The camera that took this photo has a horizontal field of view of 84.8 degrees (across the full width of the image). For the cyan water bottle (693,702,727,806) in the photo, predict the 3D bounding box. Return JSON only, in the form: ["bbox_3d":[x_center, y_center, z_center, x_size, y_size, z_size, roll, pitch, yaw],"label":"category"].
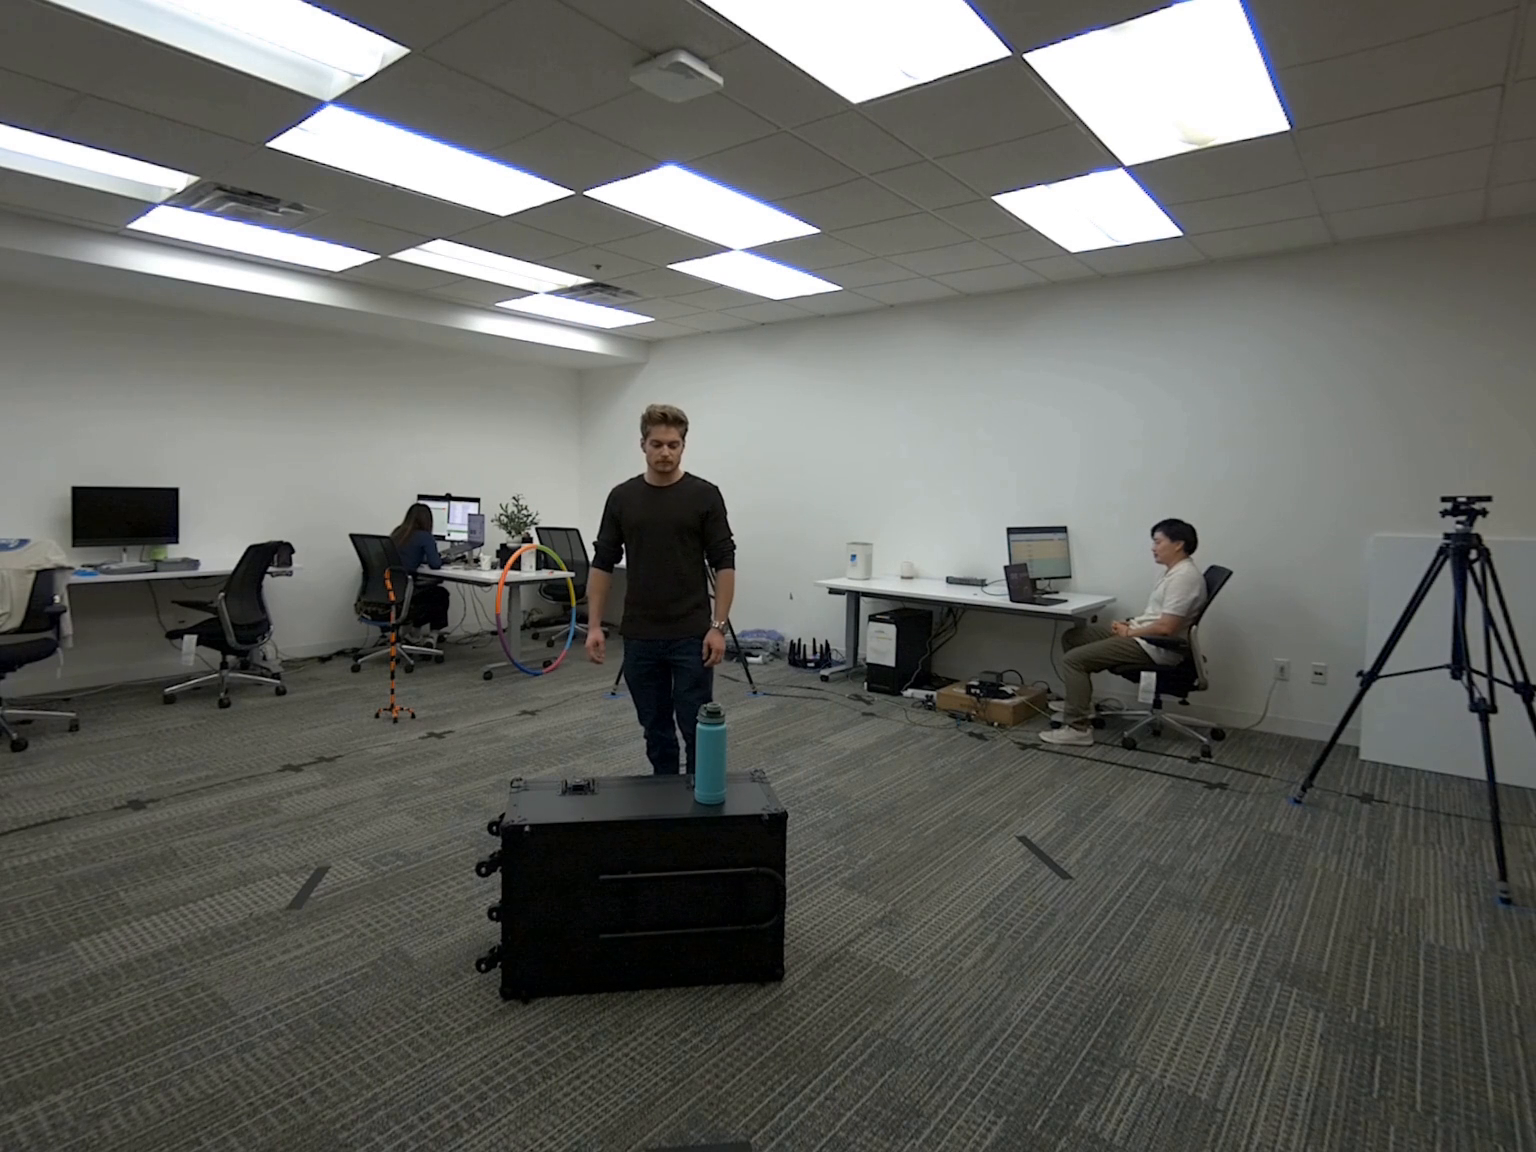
[{"bbox_3d":[-0.178,0.505,2.470,0.092,0.282,0.093,0,3,-2],"label":"cyan water bottle"}]
